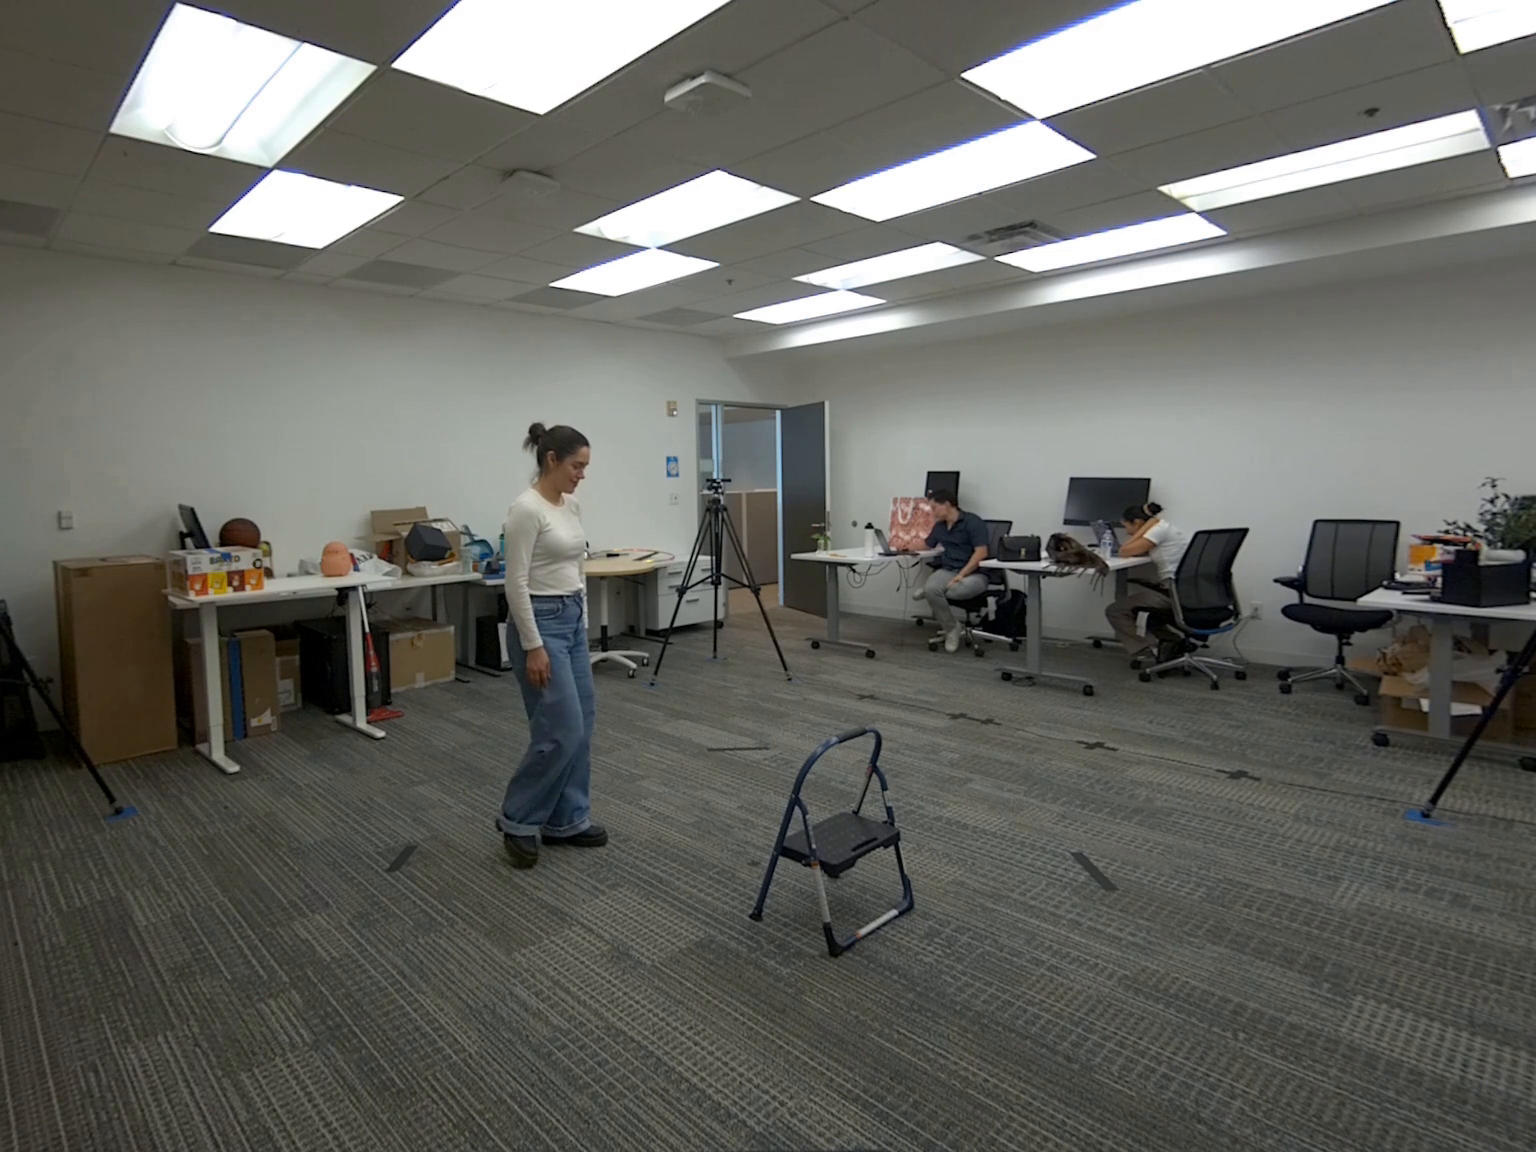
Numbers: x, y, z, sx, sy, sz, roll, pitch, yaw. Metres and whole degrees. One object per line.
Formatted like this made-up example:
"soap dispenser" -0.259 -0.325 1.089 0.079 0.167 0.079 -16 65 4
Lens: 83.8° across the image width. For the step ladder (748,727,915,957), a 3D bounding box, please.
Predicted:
"step ladder" 0.206 0.781 2.728 0.360 0.604 0.419 2 6 44
